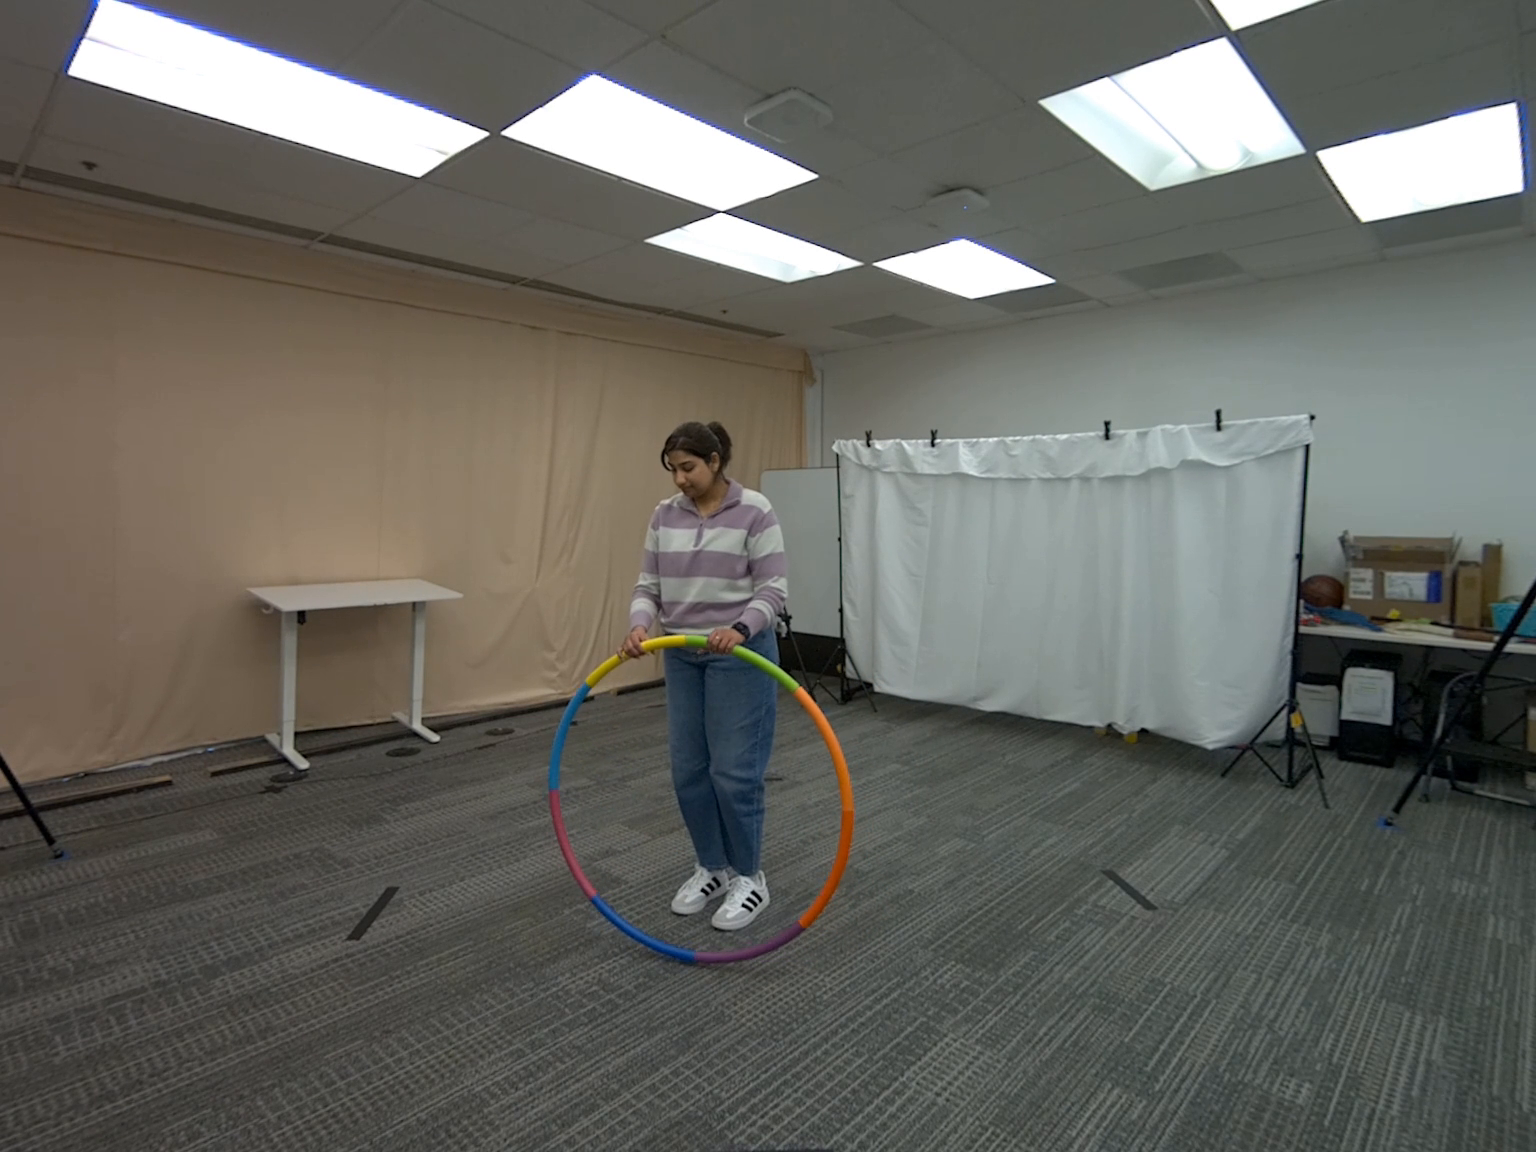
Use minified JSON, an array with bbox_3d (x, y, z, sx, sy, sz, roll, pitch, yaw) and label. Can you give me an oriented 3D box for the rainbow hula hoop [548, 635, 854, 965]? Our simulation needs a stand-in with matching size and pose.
[{"bbox_3d":[-0.234,0.659,2.560,0.997,0.978,0.035,1,0,18],"label":"rainbow hula hoop"}]
